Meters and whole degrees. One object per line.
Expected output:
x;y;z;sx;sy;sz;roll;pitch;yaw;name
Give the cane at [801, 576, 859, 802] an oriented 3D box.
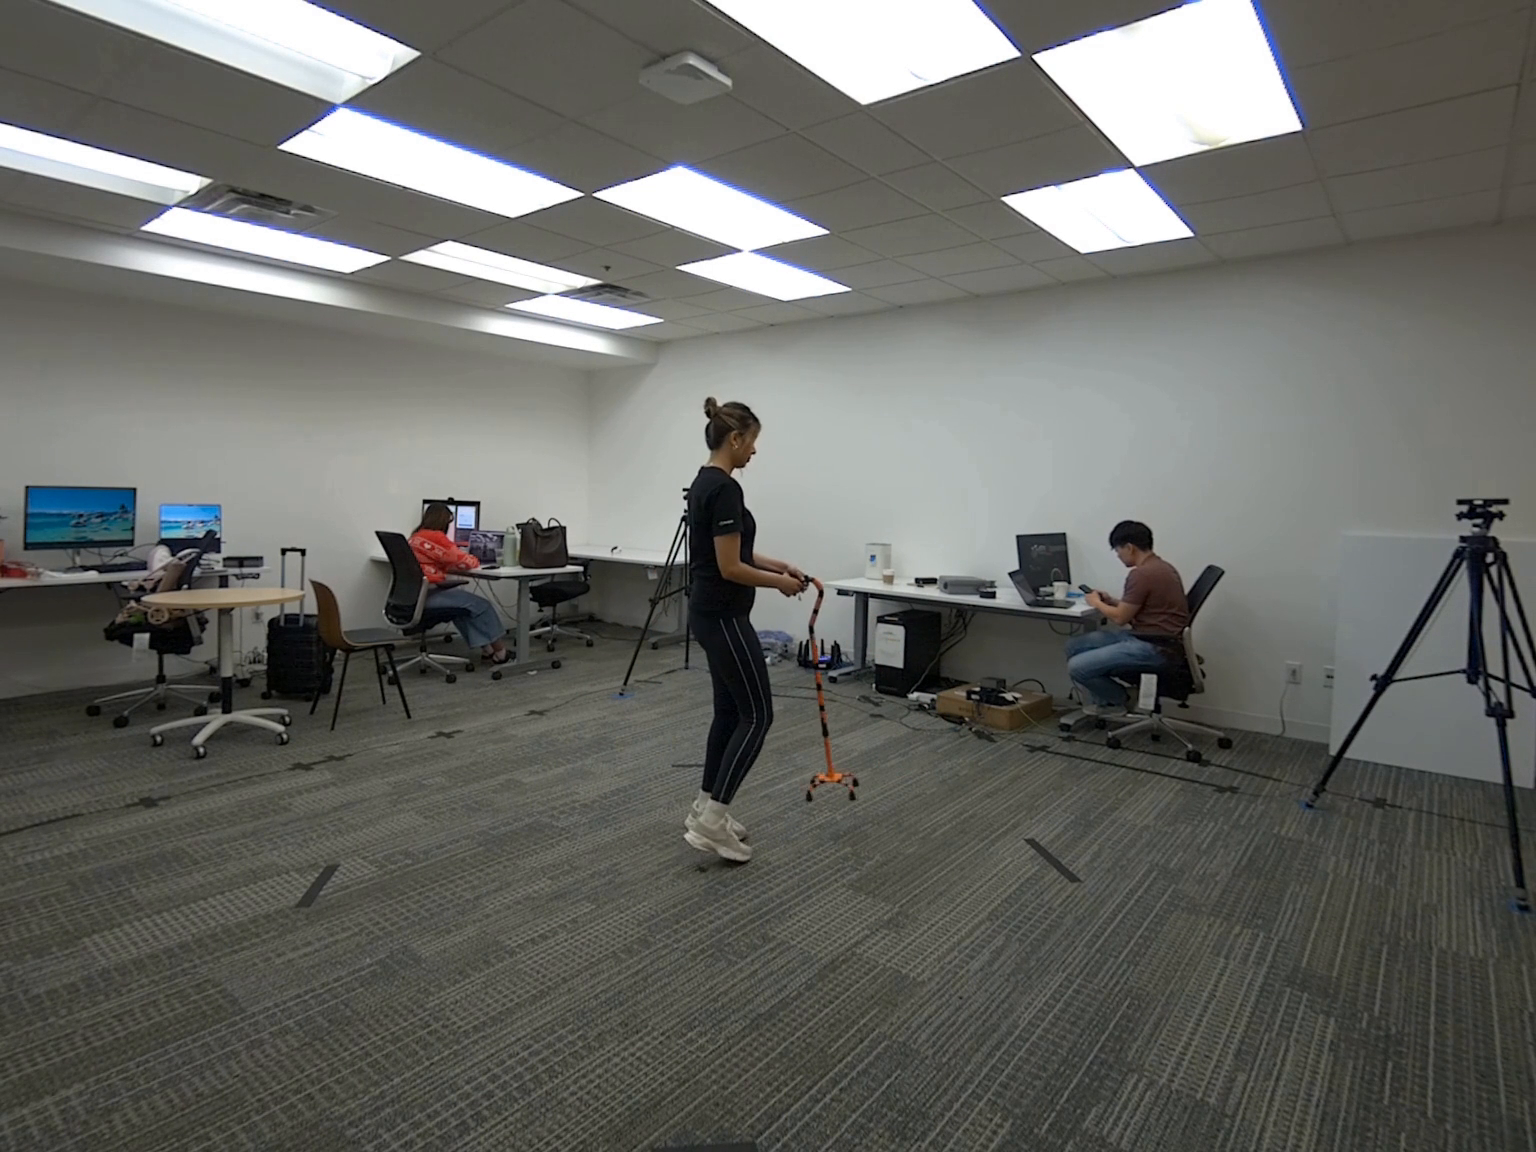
0.198;0.455;3.428;0.209;0.900;0.151;-6;8;11;cane
